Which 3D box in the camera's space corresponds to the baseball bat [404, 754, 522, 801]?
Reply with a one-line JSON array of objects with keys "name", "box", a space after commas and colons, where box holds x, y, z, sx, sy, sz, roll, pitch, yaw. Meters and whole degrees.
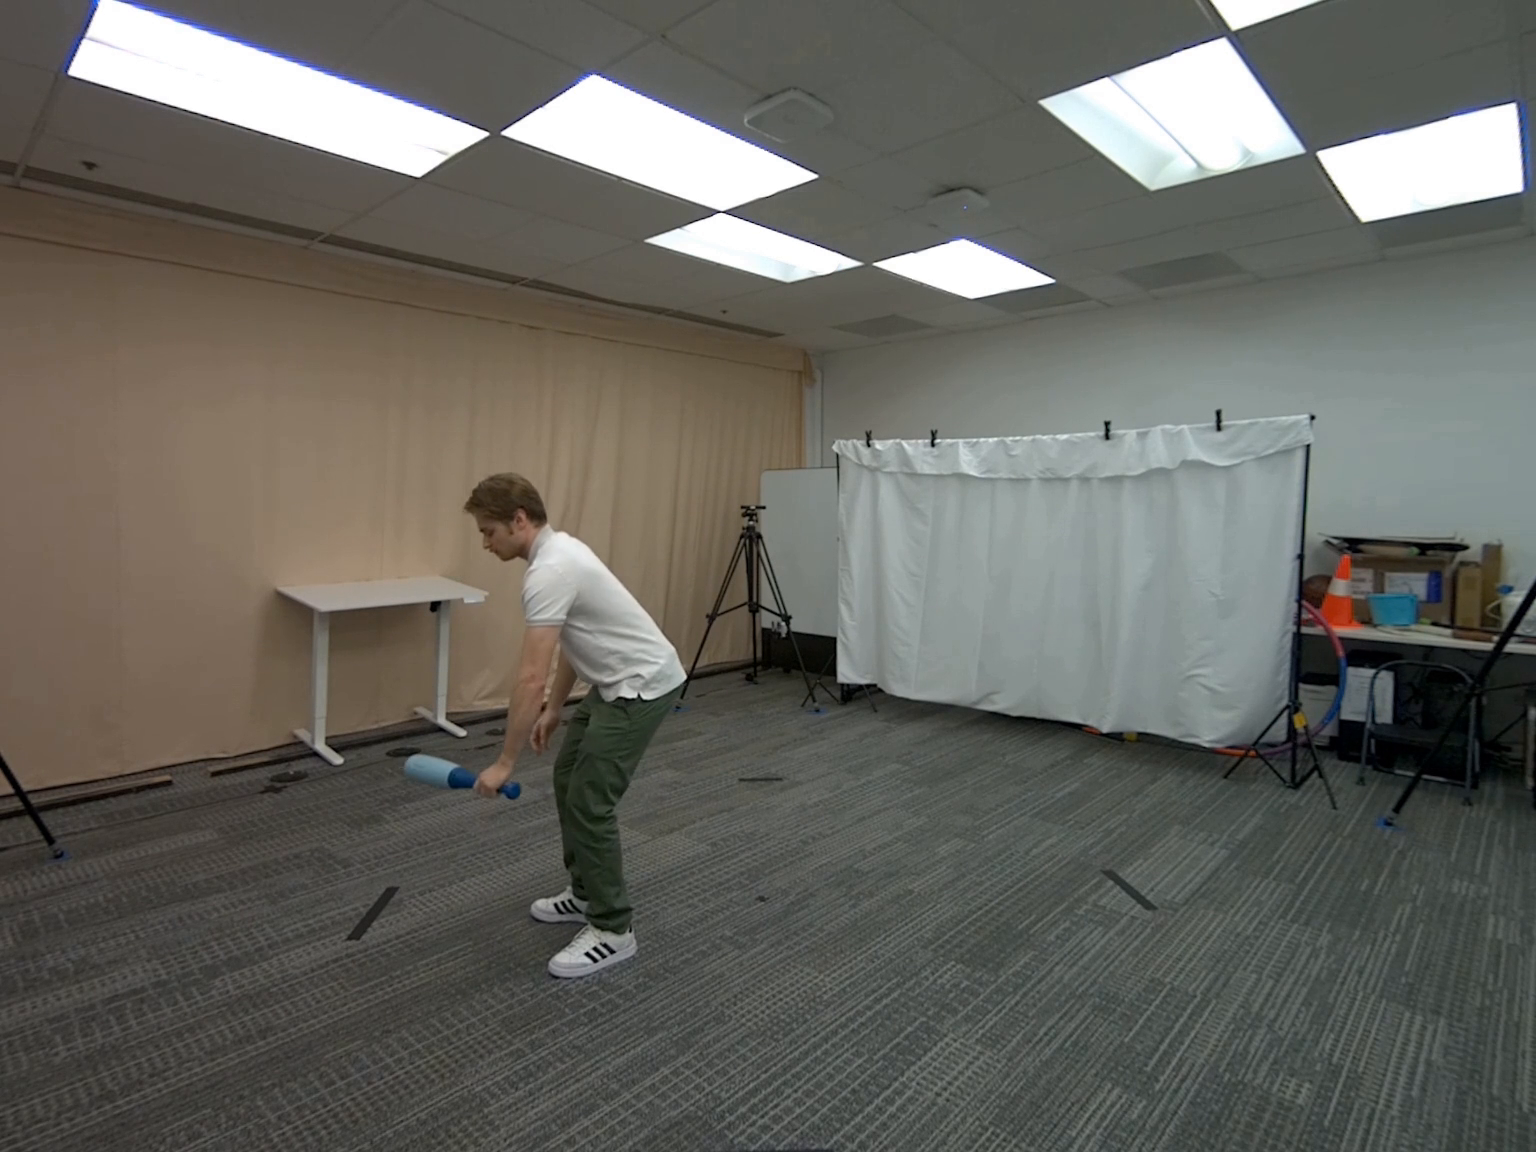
[{"name": "baseball bat", "box": [-0.941, 0.636, 2.579, 0.559, 0.089, 0.086, -1, 2, 36]}]
